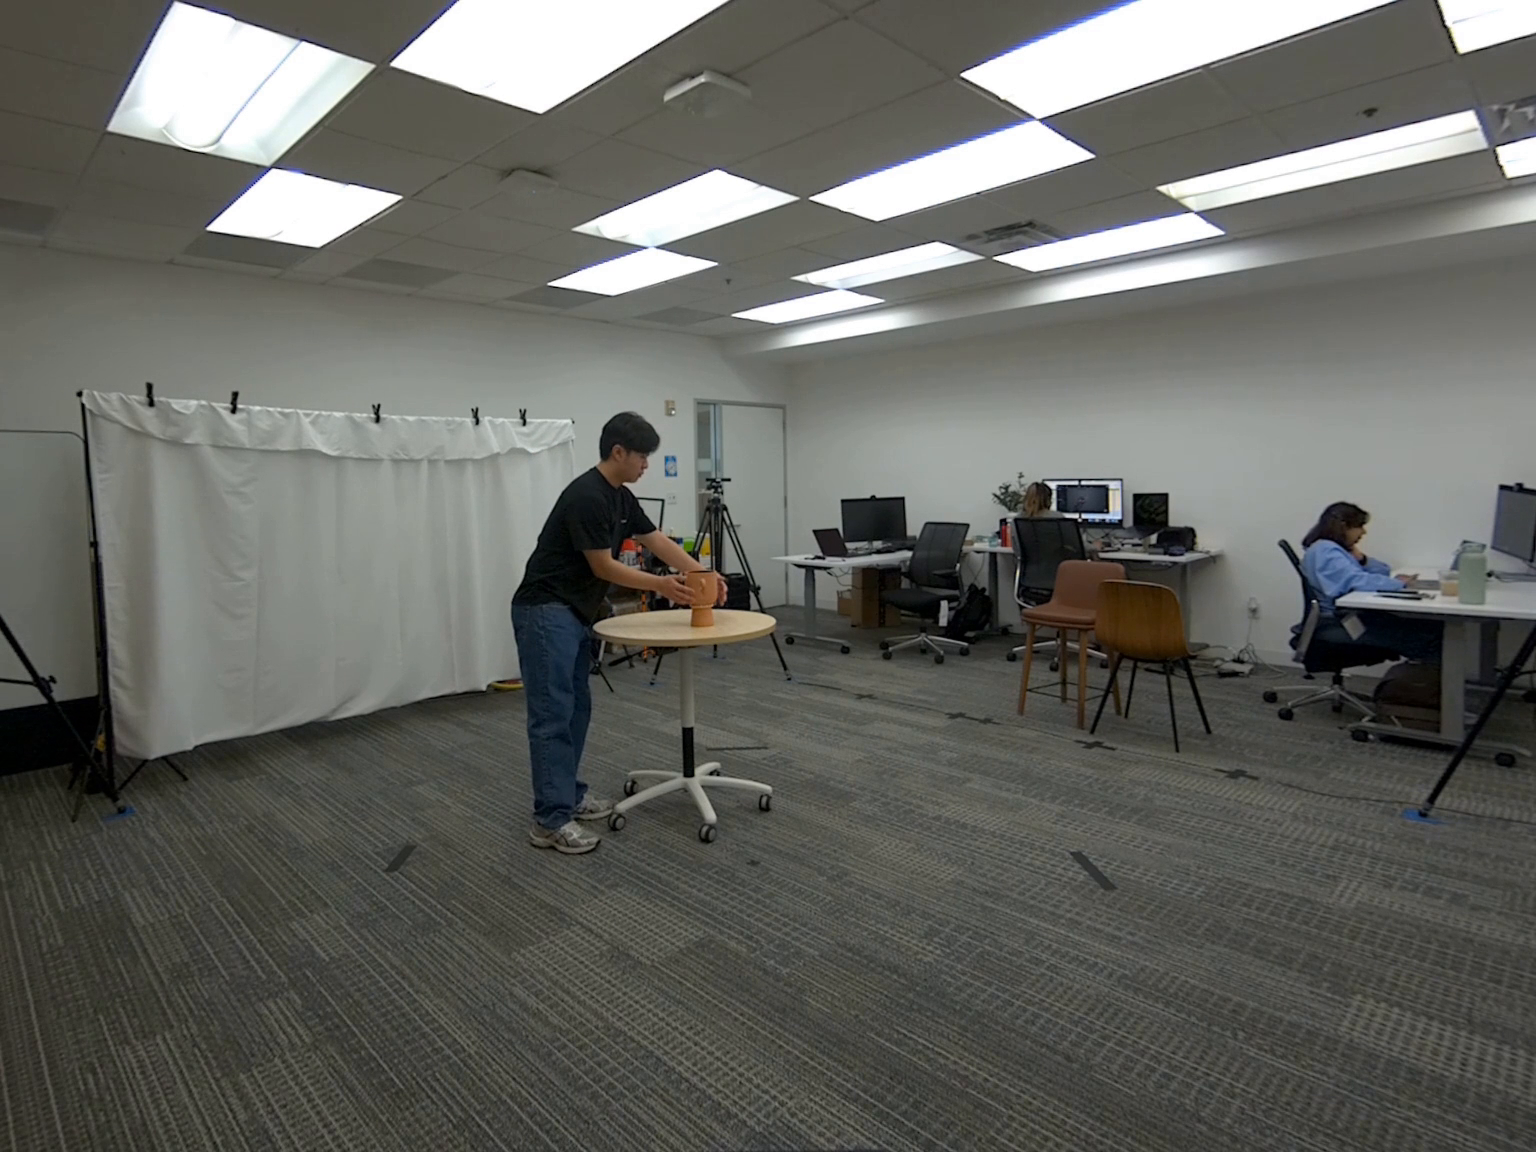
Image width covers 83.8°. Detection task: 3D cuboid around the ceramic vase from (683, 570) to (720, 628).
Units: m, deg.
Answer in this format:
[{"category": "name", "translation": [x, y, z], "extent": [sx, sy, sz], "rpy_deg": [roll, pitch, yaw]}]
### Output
[{"category": "ceramic vase", "translation": [-0.277, 0.091, 3.510], "extent": [0.138, 0.219, 0.155], "rpy_deg": [1, 3, 28]}]
